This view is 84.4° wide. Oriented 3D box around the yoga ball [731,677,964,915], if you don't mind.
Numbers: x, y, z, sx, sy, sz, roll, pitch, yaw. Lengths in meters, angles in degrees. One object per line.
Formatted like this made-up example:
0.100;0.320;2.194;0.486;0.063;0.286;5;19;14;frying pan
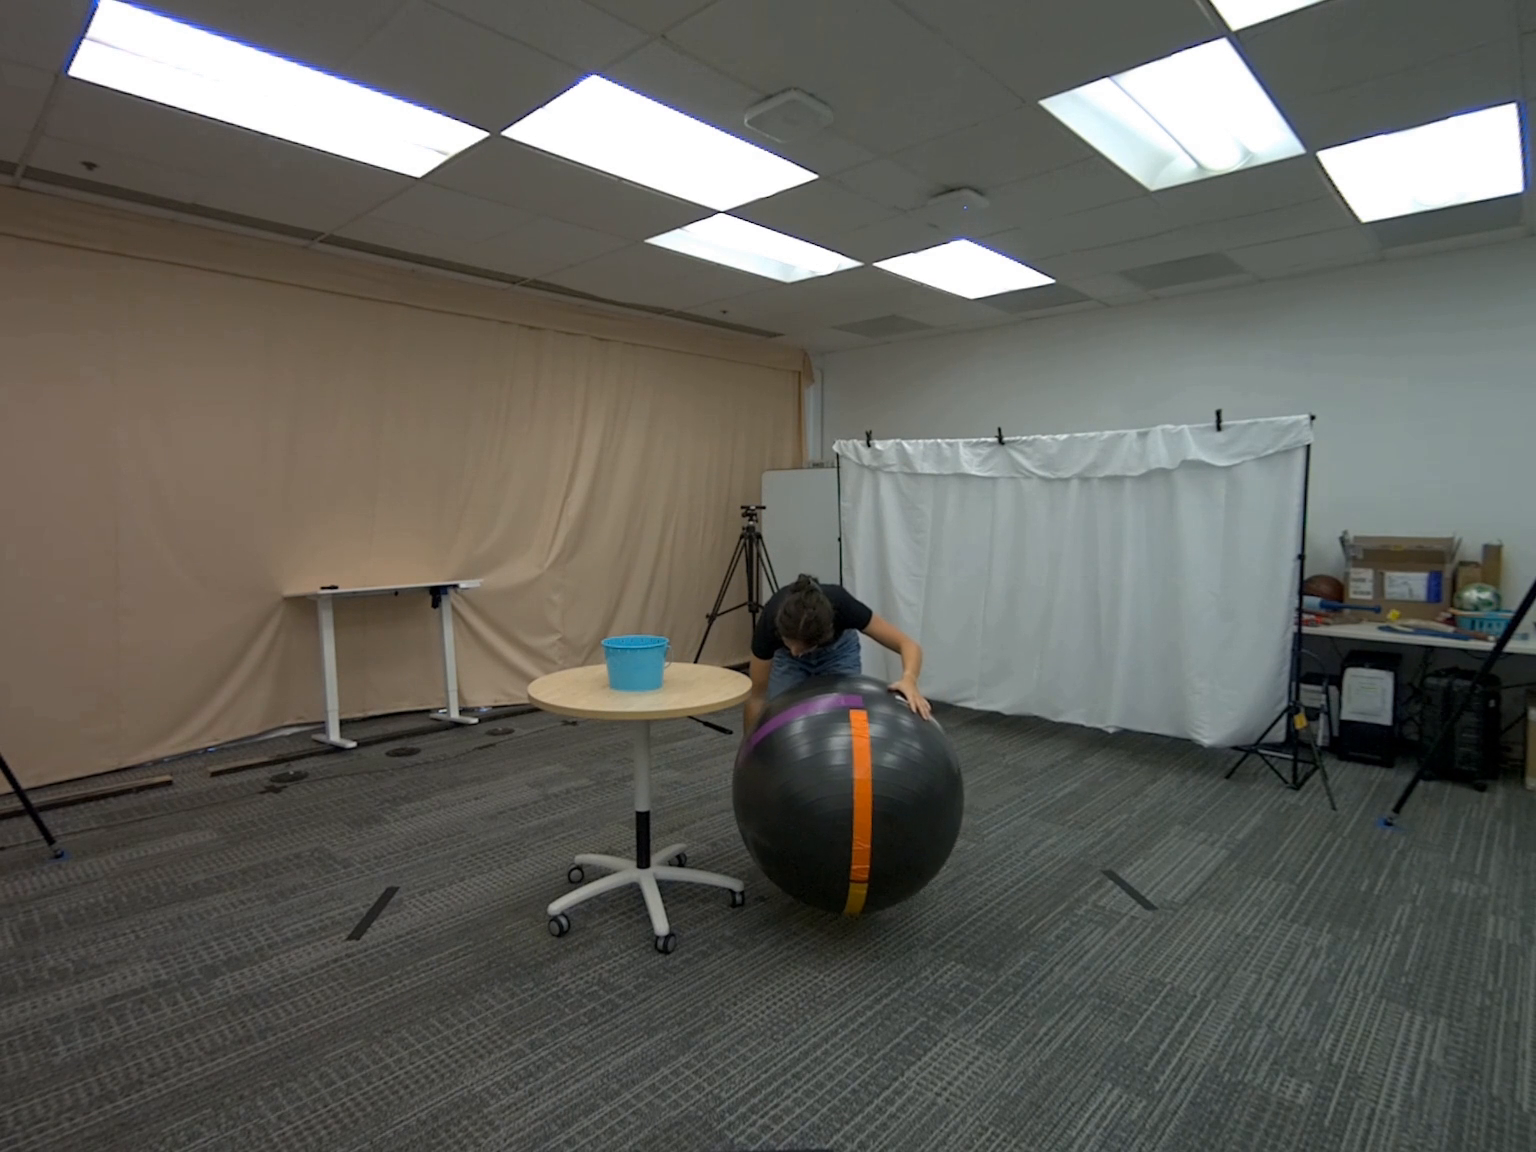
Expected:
0.261;0.715;2.789;0.757;0.756;0.760;0;4;-2;yoga ball
